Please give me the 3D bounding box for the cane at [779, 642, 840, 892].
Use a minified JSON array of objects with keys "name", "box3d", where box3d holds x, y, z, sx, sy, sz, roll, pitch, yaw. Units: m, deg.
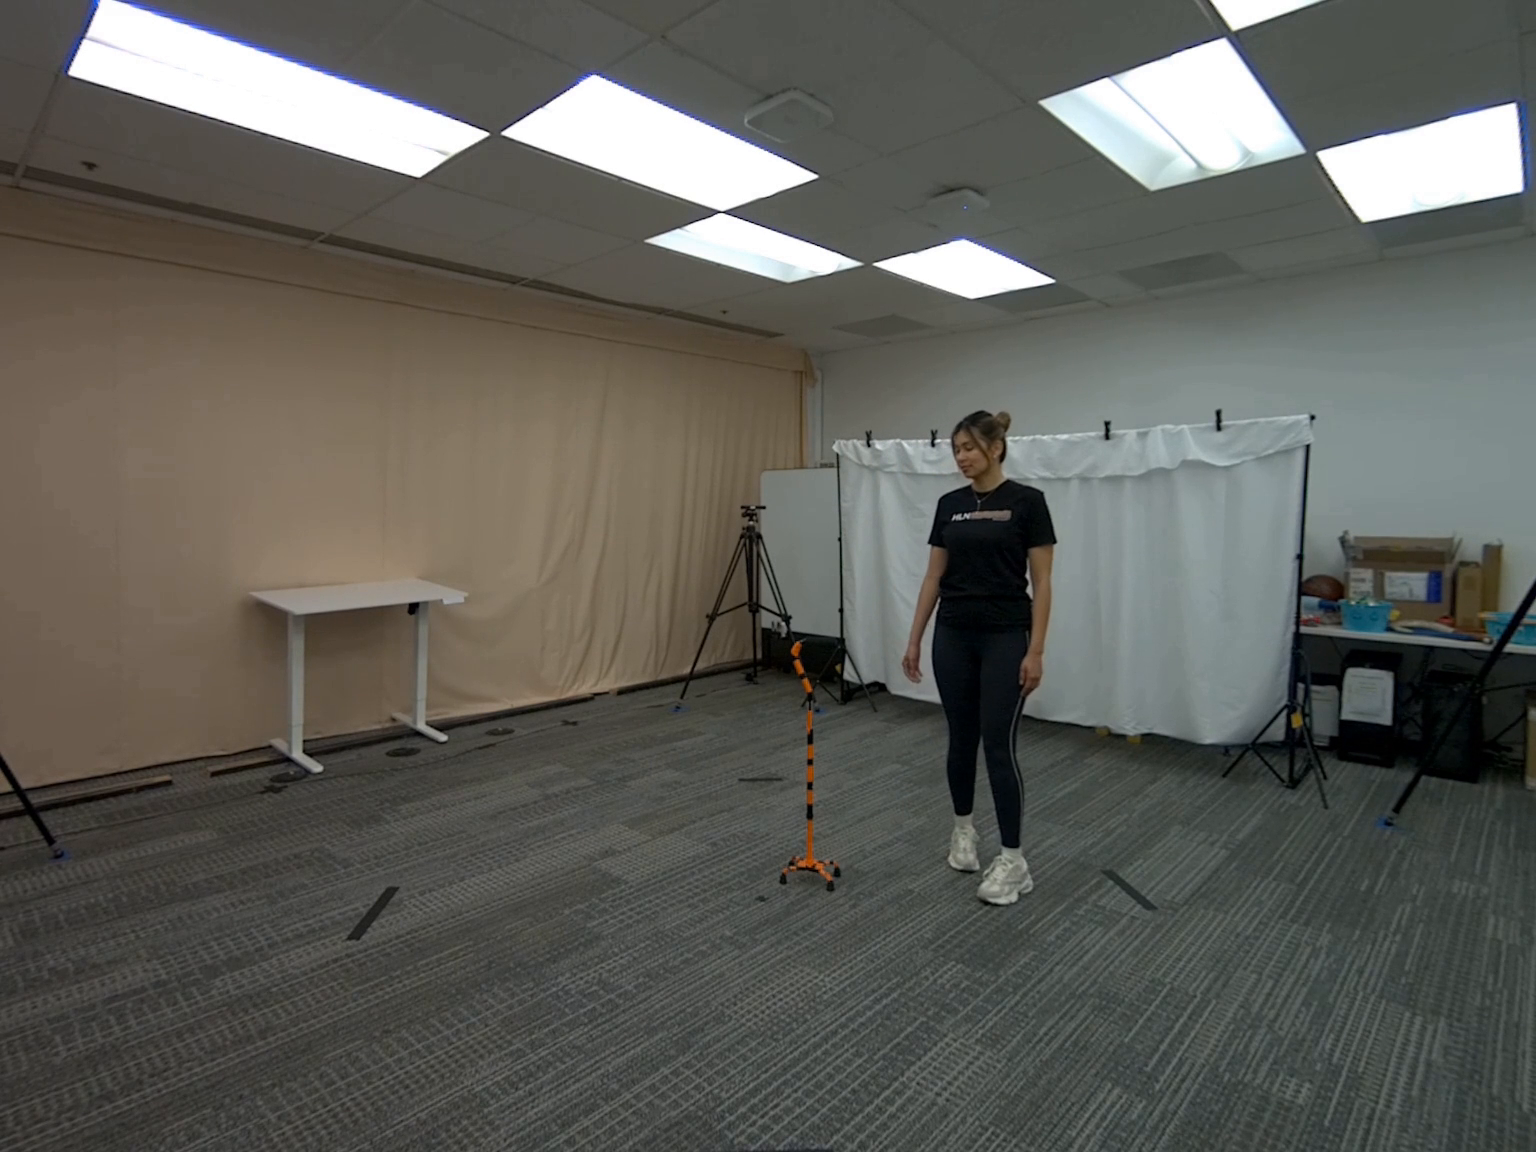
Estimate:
[{"name":"cane","box3d":[0.154,0.681,3.114,0.210,0.906,0.149,0,3,14]}]
